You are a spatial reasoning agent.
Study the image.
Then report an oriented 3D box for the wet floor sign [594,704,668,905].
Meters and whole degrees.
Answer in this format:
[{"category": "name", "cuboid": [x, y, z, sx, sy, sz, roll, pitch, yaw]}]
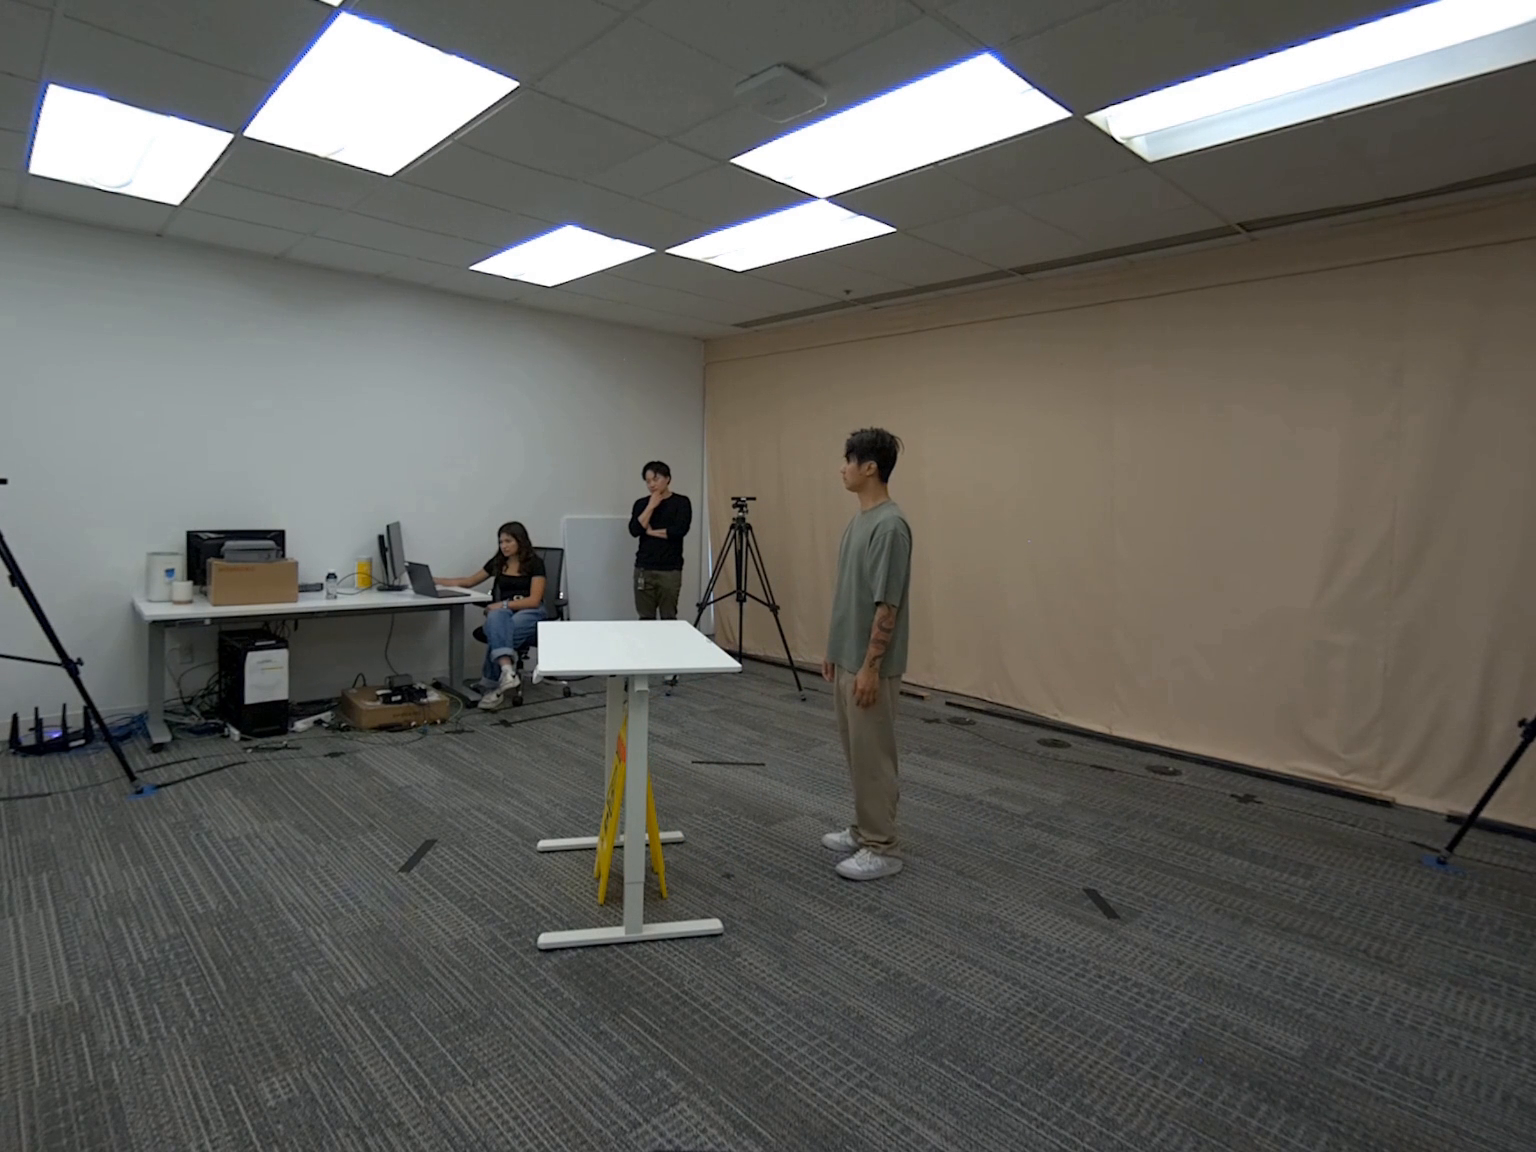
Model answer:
[{"category": "wet floor sign", "cuboid": [-0.510, 0.793, 3.007, 0.286, 0.645, 0.285, 0, 1, -14]}]
